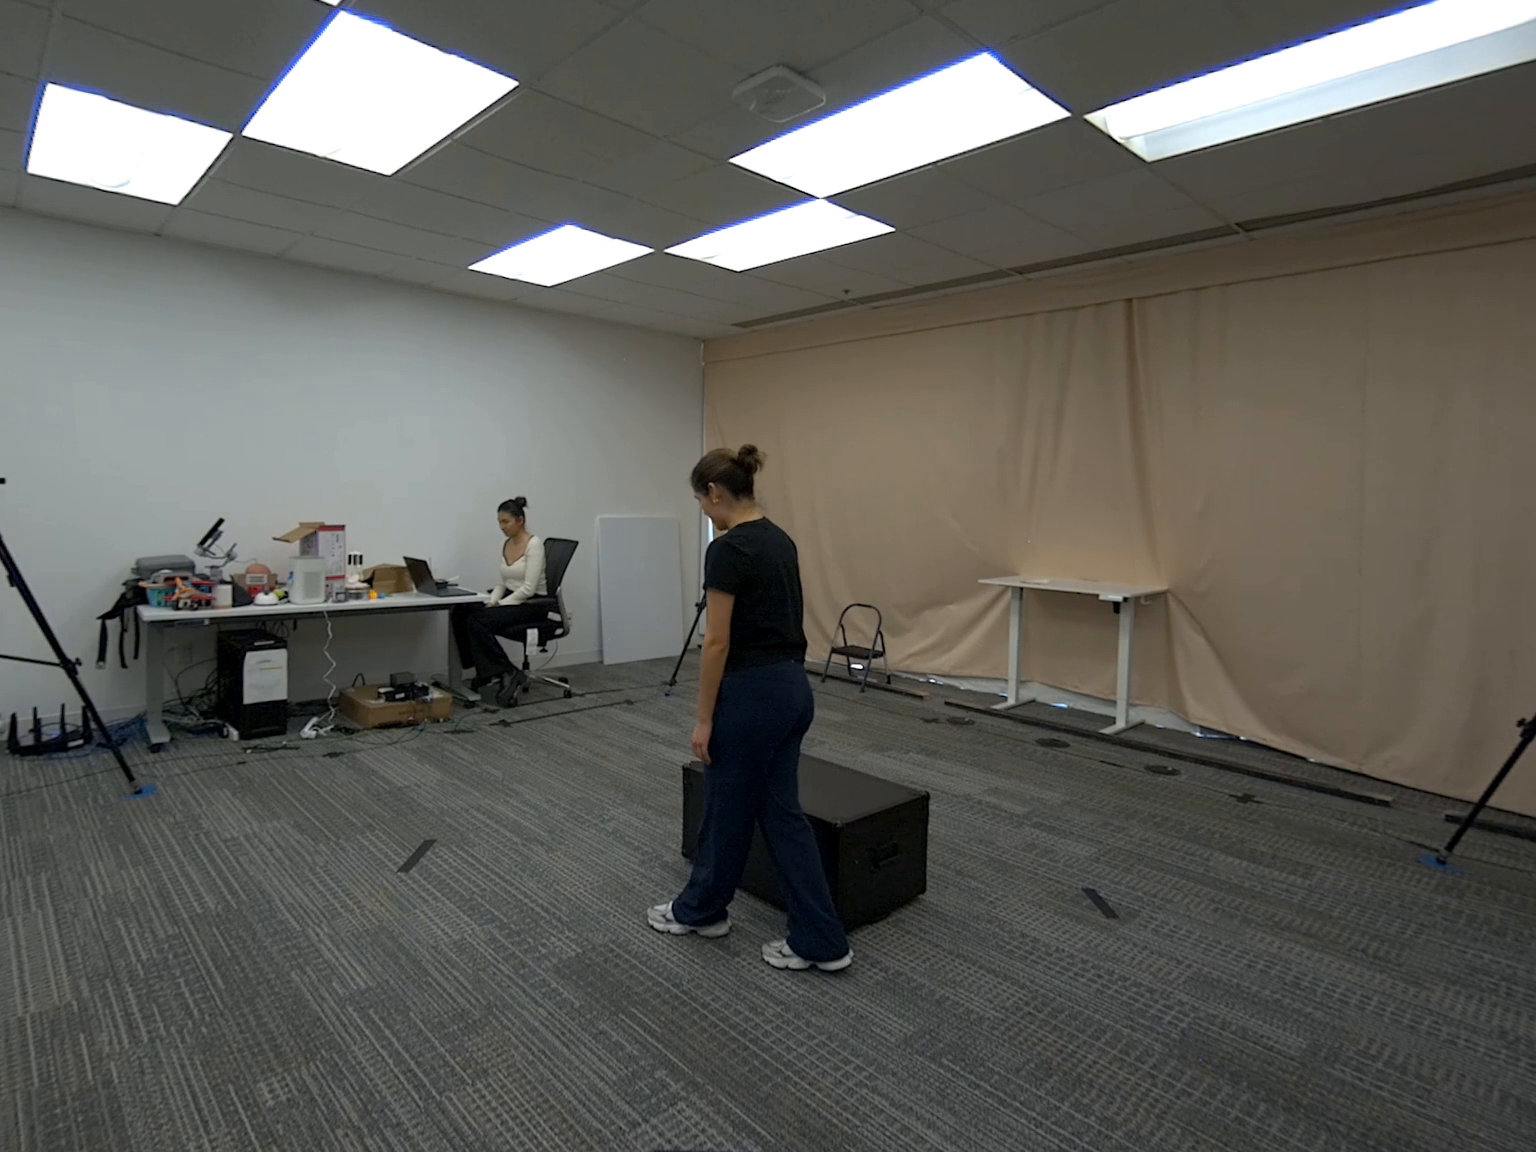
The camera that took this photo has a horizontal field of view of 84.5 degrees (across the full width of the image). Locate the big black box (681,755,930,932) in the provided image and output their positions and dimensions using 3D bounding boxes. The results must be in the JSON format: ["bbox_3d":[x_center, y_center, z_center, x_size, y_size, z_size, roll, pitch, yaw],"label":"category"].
[{"bbox_3d":[0.093,0.924,3.088,0.509,0.395,0.884,-3,7,-44],"label":"big black box"}]
